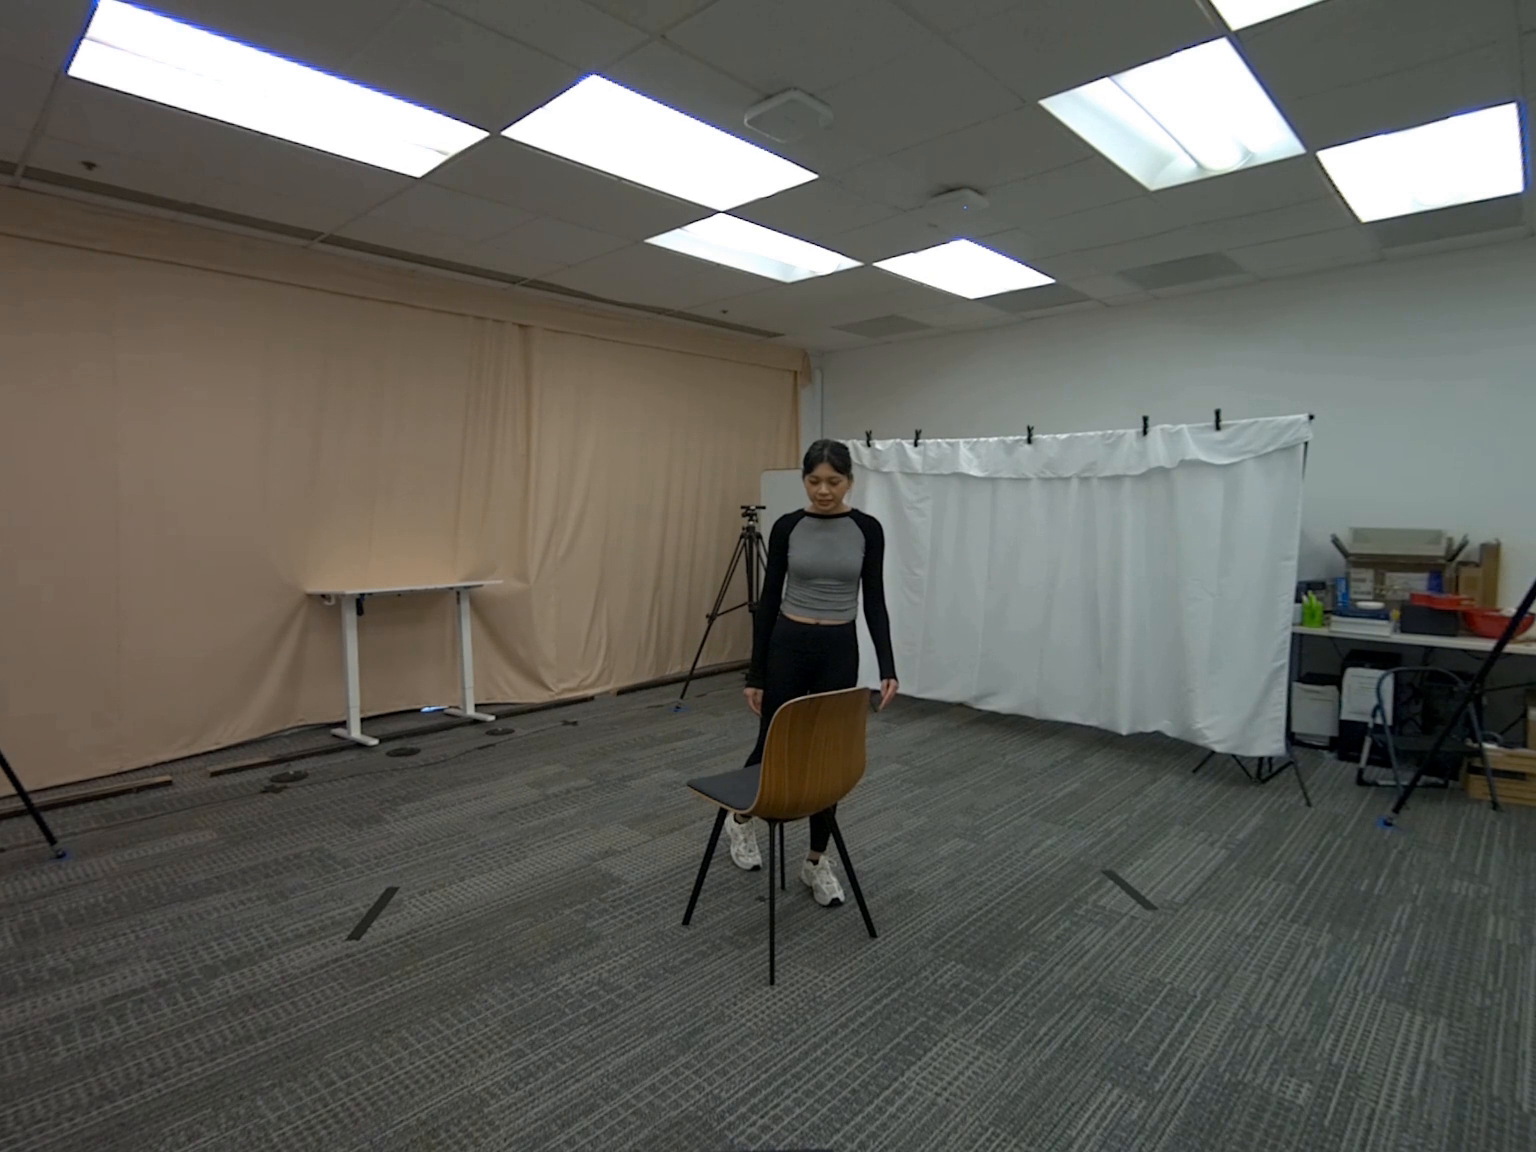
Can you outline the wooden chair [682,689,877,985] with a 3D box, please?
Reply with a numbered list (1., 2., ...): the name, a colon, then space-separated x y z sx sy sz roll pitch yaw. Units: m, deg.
1. wooden chair: 0.029 0.735 2.731 0.464 0.874 0.541 -3 9 -39
